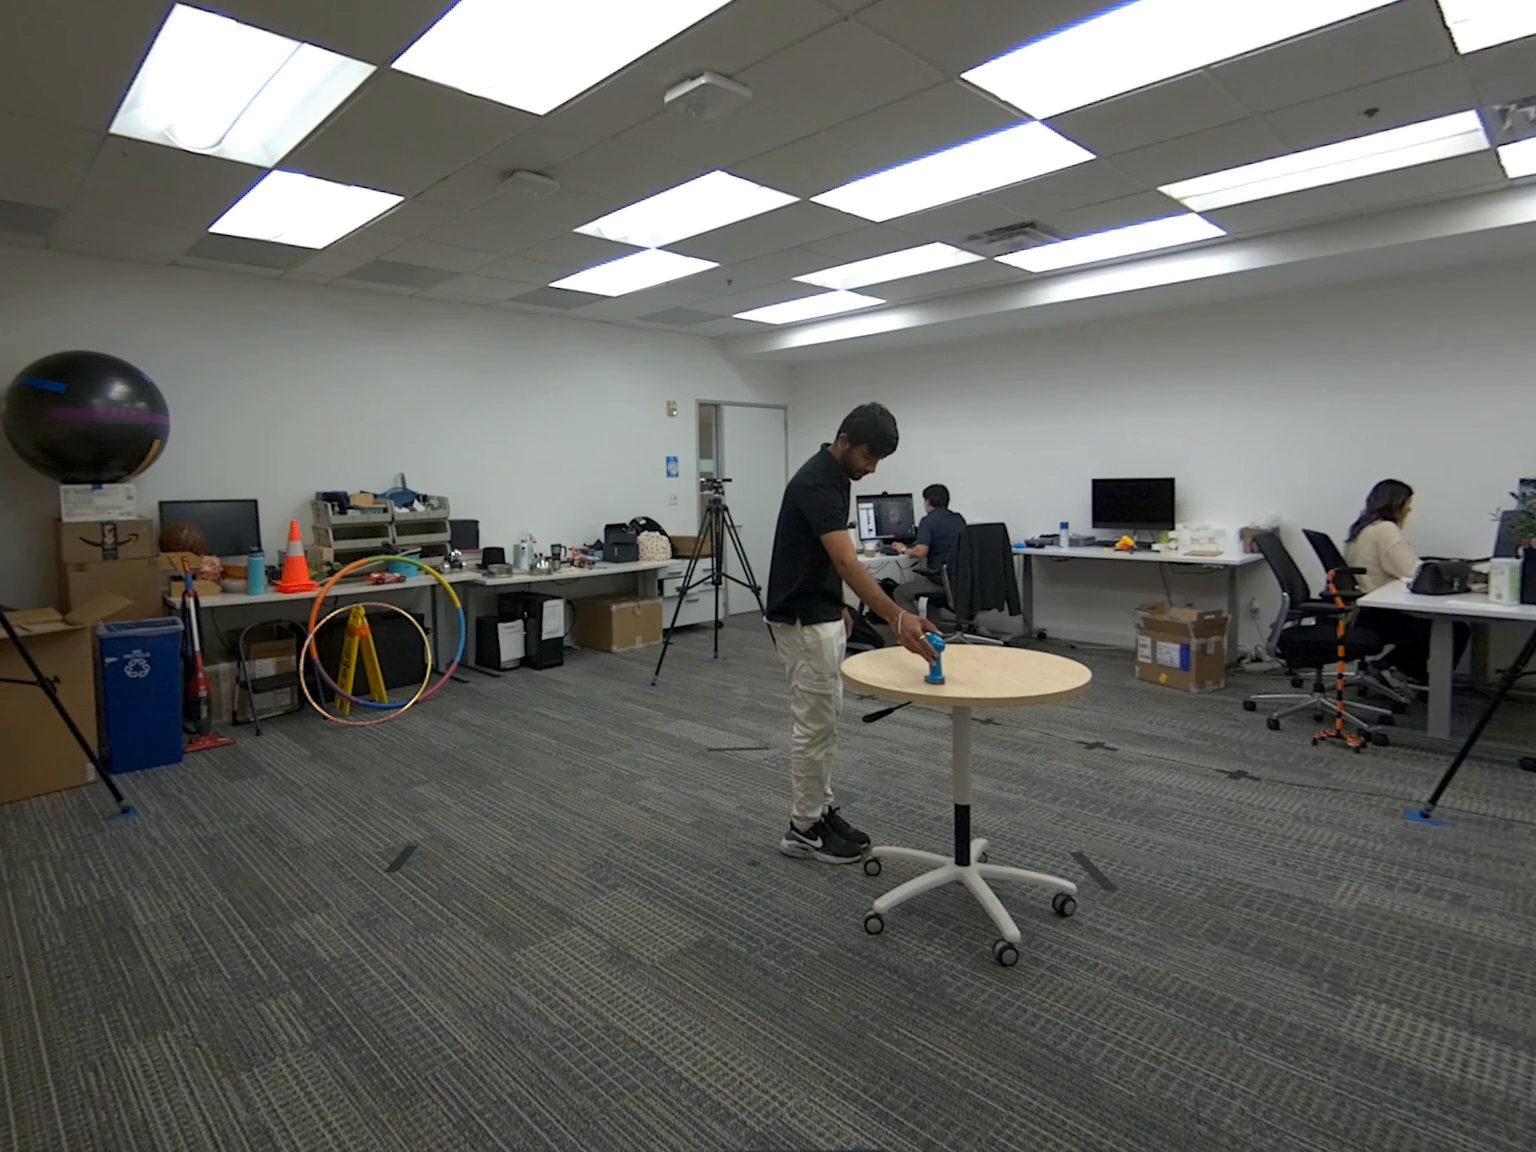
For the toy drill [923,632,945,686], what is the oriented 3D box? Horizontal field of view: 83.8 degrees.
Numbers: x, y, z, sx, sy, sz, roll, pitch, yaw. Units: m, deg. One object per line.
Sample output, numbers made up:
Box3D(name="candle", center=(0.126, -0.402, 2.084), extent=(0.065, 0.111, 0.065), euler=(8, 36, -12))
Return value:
Box3D(name="toy drill", center=(0.487, 0.238, 2.580), extent=(0.060, 0.145, 0.173), euler=(-4, 5, -16))
